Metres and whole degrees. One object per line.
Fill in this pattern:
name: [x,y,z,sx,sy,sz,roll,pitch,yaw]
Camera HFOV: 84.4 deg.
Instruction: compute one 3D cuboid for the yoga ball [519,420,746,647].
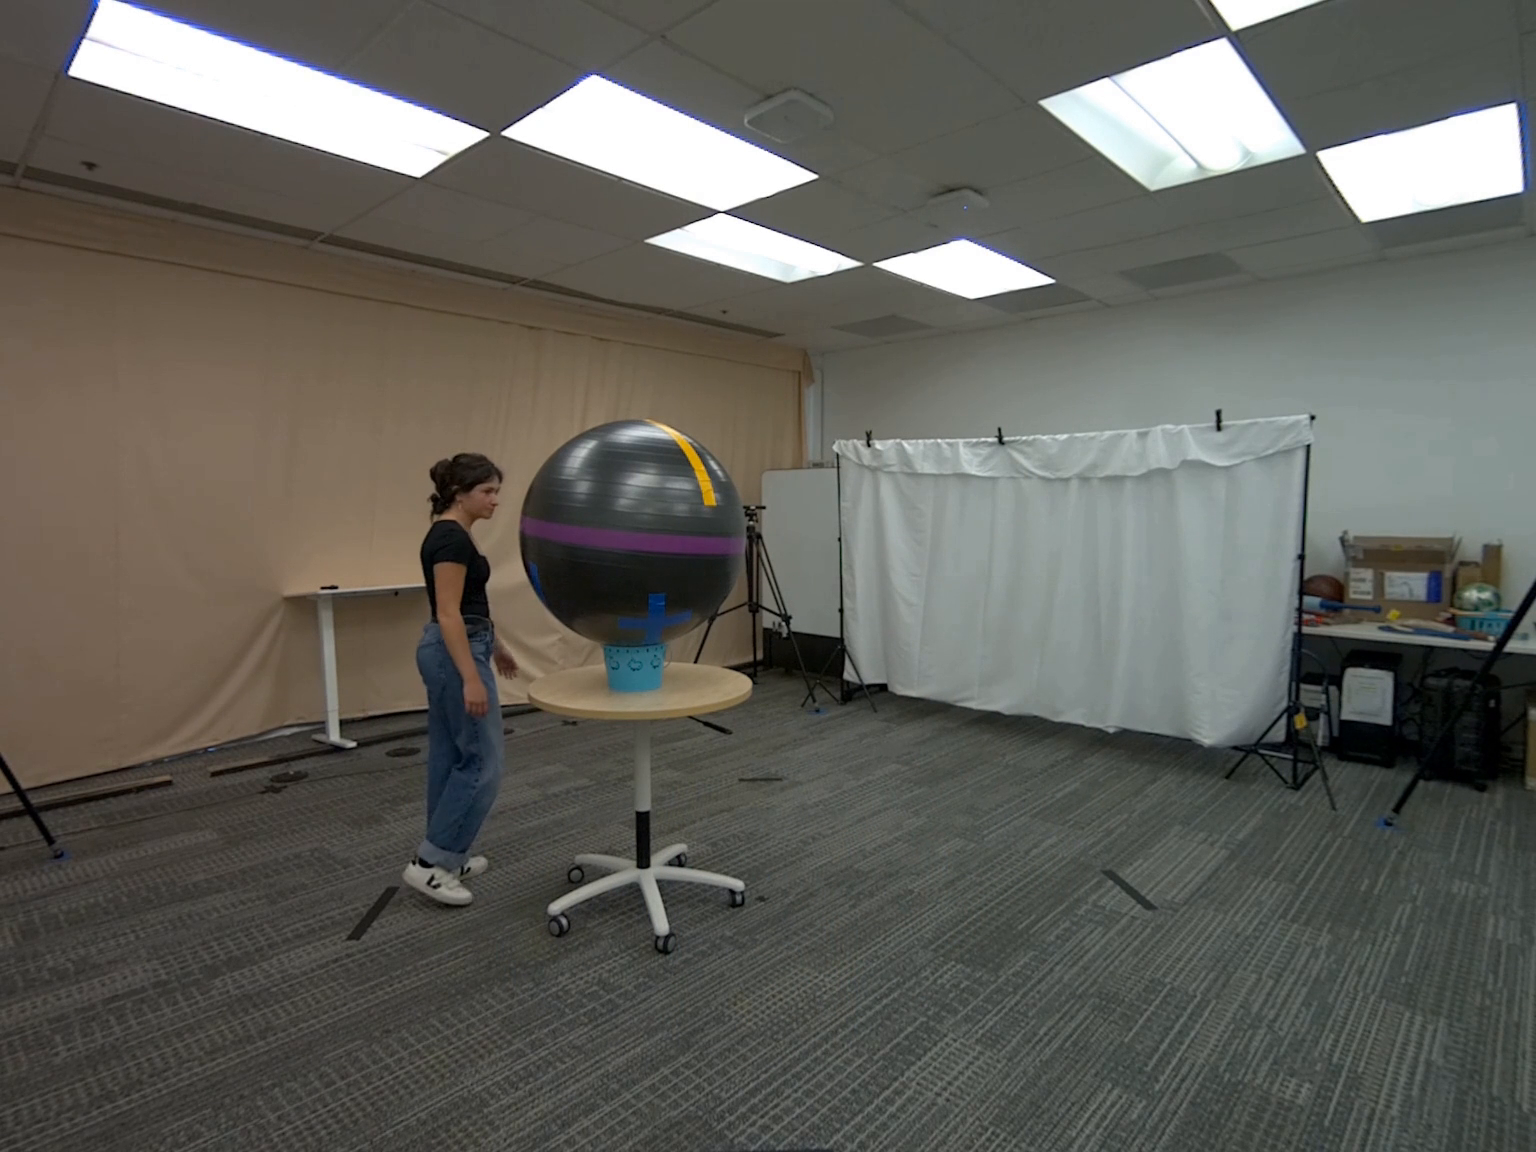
yoga ball: [-0.463,-0.136,2.843,0.757,0.756,0.760,0,4,-2]
